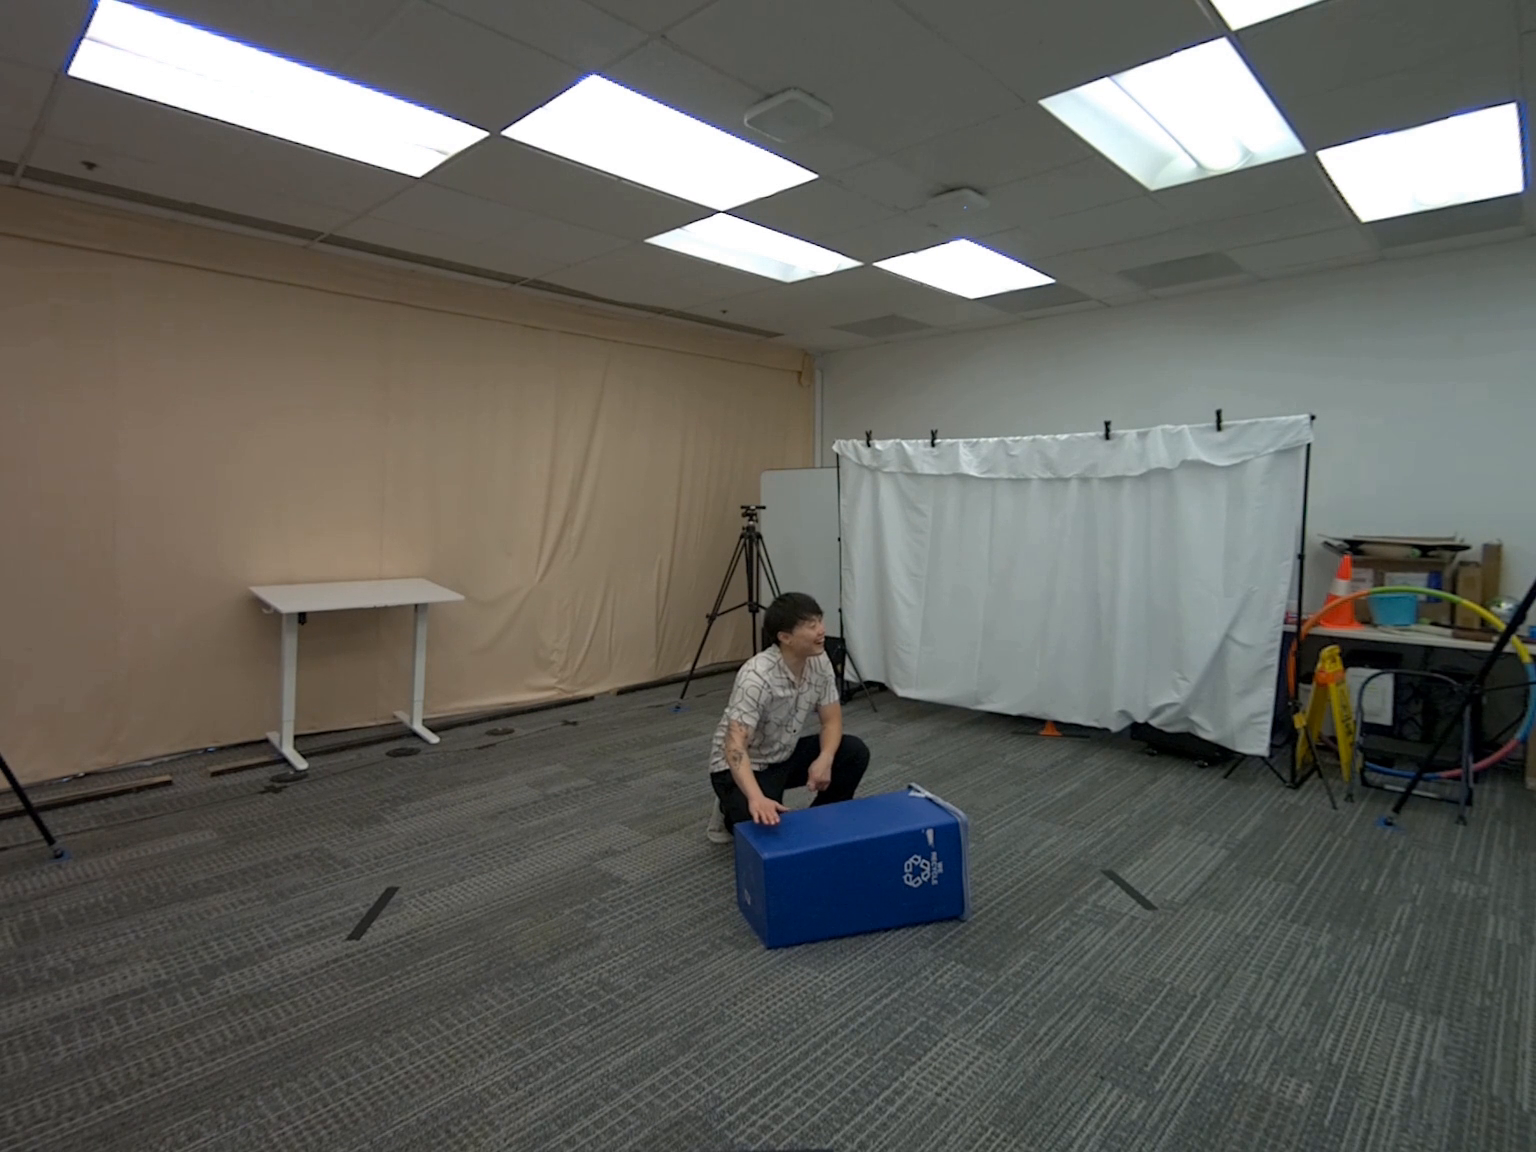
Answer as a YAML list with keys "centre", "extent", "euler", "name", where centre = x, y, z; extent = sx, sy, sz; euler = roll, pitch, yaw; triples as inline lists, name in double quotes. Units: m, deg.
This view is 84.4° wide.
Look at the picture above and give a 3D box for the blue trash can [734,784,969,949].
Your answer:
- centre: [0.275, 0.982, 2.871]
  extent: [0.701, 0.373, 0.386]
  euler: [-5, 5, -17]
  name: "blue trash can"
